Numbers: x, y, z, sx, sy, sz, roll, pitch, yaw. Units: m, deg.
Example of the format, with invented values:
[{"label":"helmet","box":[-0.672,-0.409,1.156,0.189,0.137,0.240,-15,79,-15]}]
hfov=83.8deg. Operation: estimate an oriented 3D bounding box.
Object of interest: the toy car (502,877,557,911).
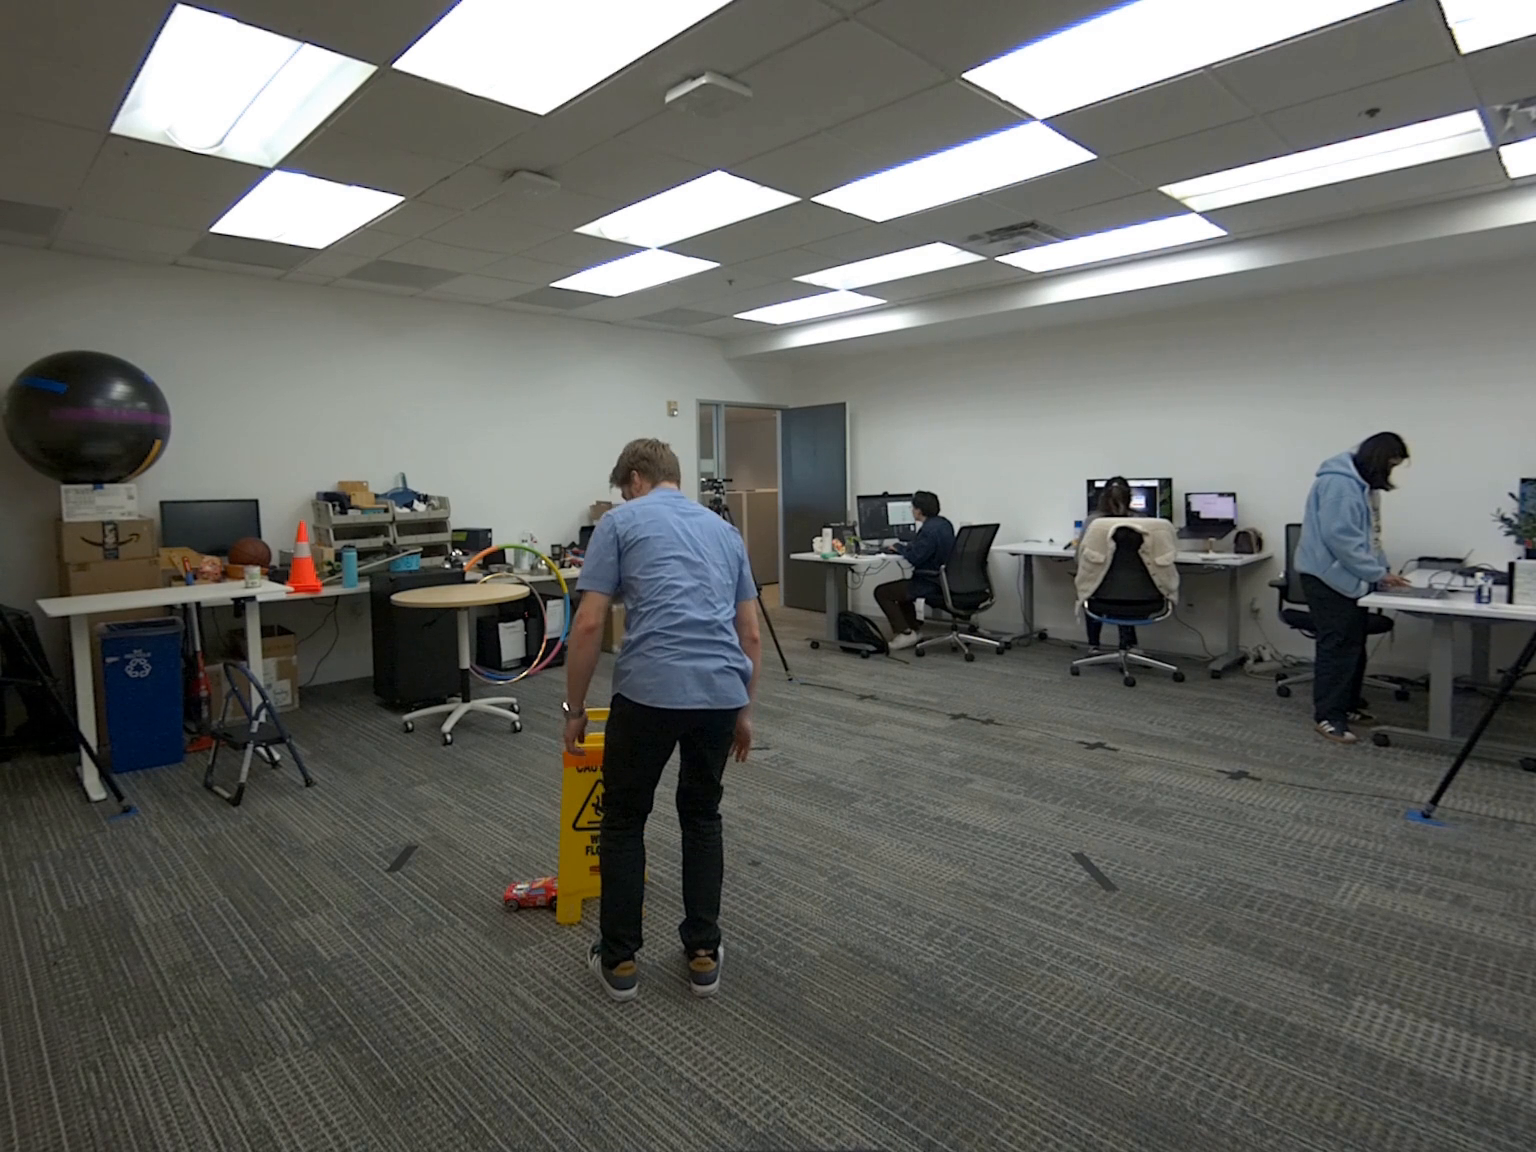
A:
[{"label":"toy car","box":[-0.748,1.060,2.839,0.255,0.083,0.131,-11,5,1]}]
